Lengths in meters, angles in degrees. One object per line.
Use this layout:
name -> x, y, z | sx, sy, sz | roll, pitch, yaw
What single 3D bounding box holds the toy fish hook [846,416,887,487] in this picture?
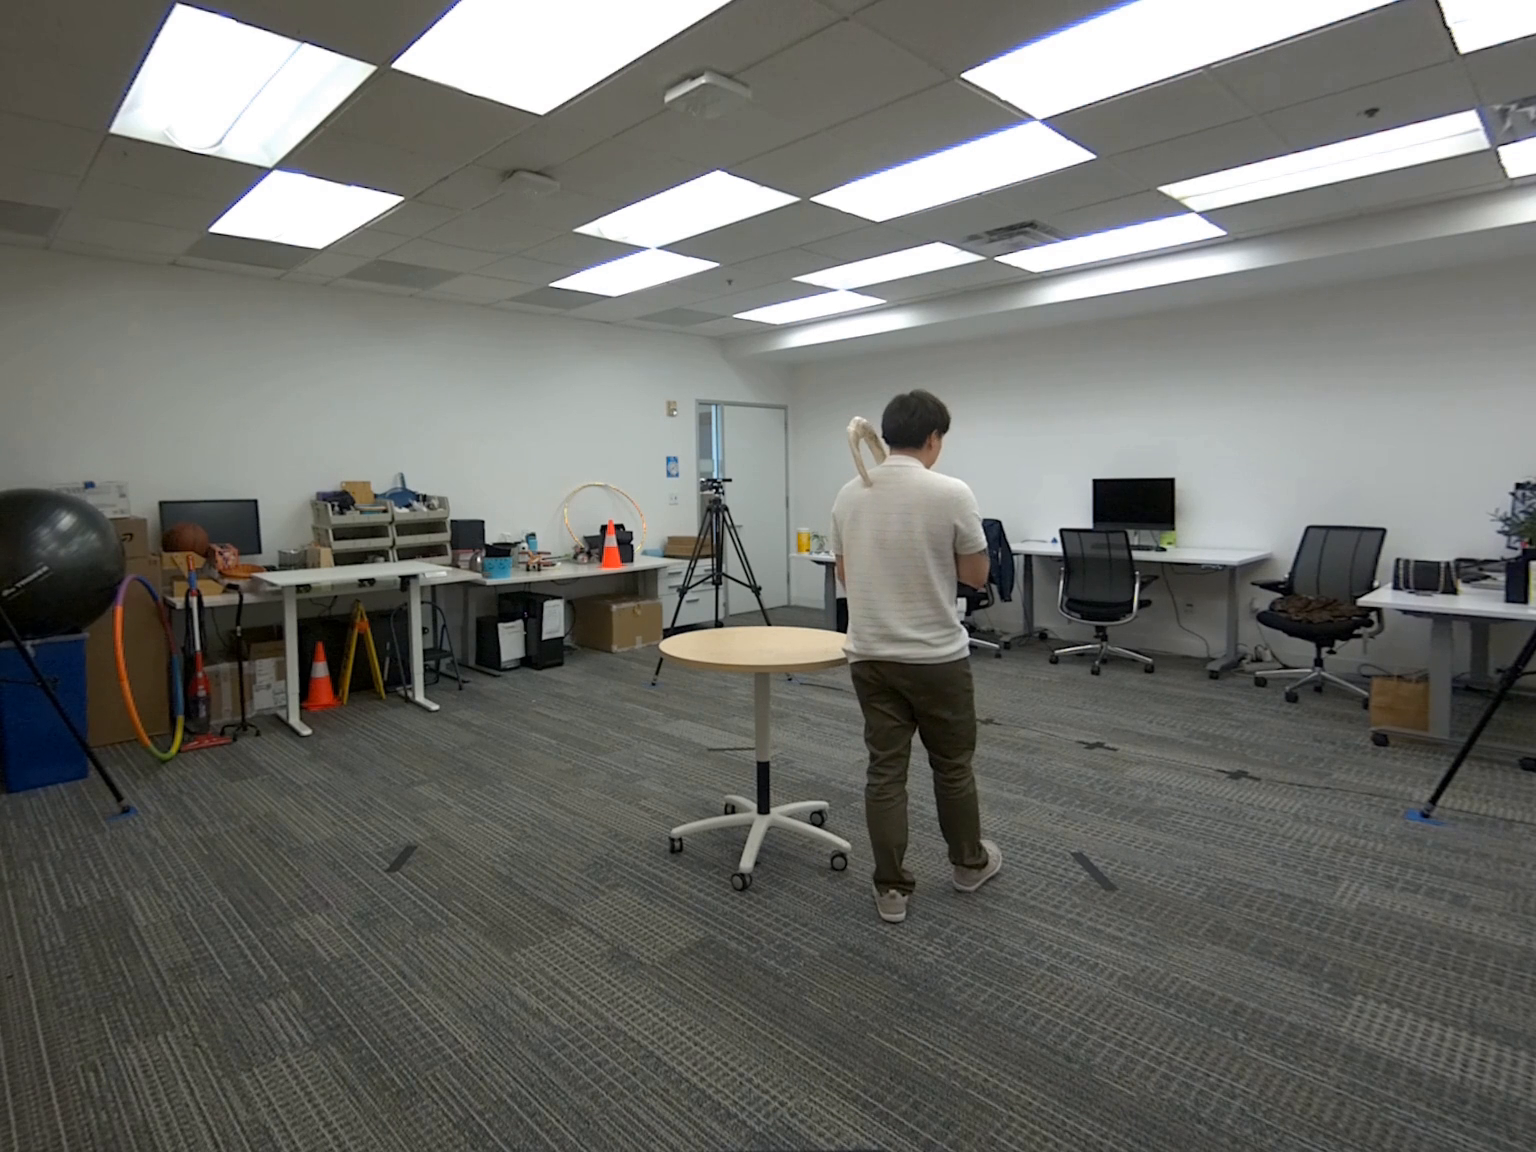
toy fish hook -> 0.394, -0.290, 2.815 | 0.049, 0.496, 0.225 | -16, 22, 38
